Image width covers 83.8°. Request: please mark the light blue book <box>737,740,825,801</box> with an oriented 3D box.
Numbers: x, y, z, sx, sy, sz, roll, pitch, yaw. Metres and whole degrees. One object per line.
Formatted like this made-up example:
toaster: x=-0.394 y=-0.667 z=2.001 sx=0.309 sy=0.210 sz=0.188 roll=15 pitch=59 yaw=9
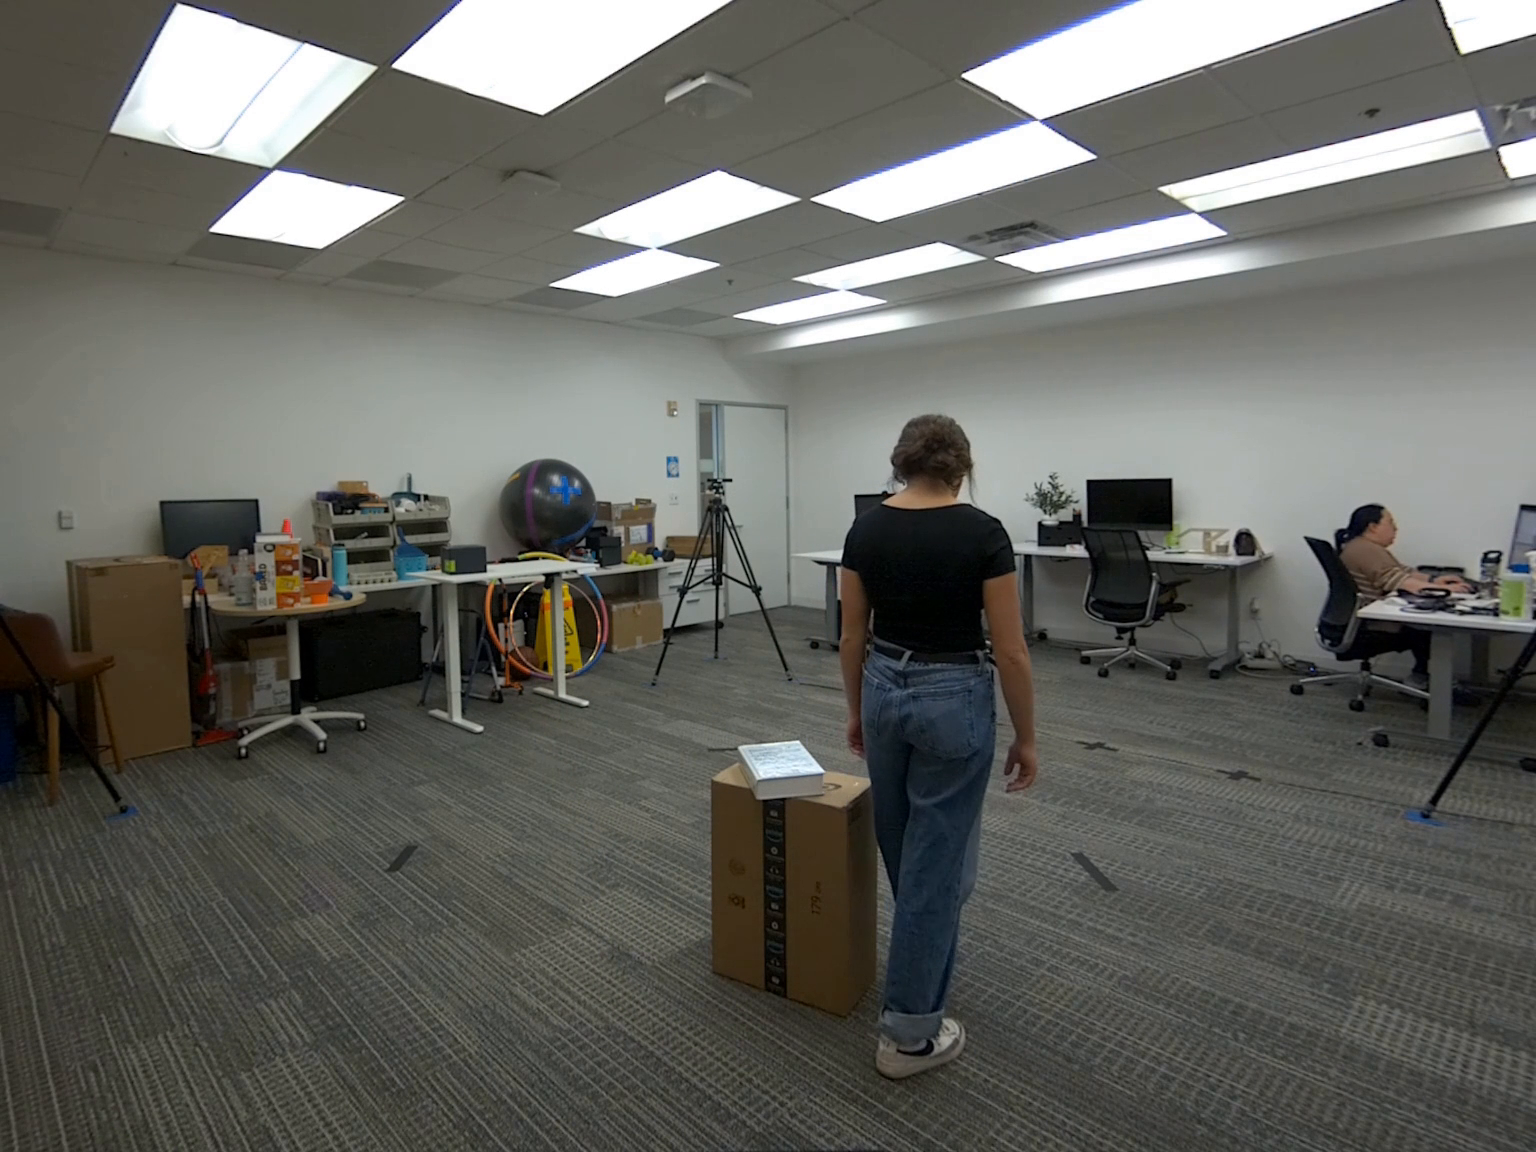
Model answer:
light blue book: x=0.031 y=0.539 z=2.367 sx=0.189 sy=0.059 sz=0.265 roll=-3 pitch=7 yaw=-12
